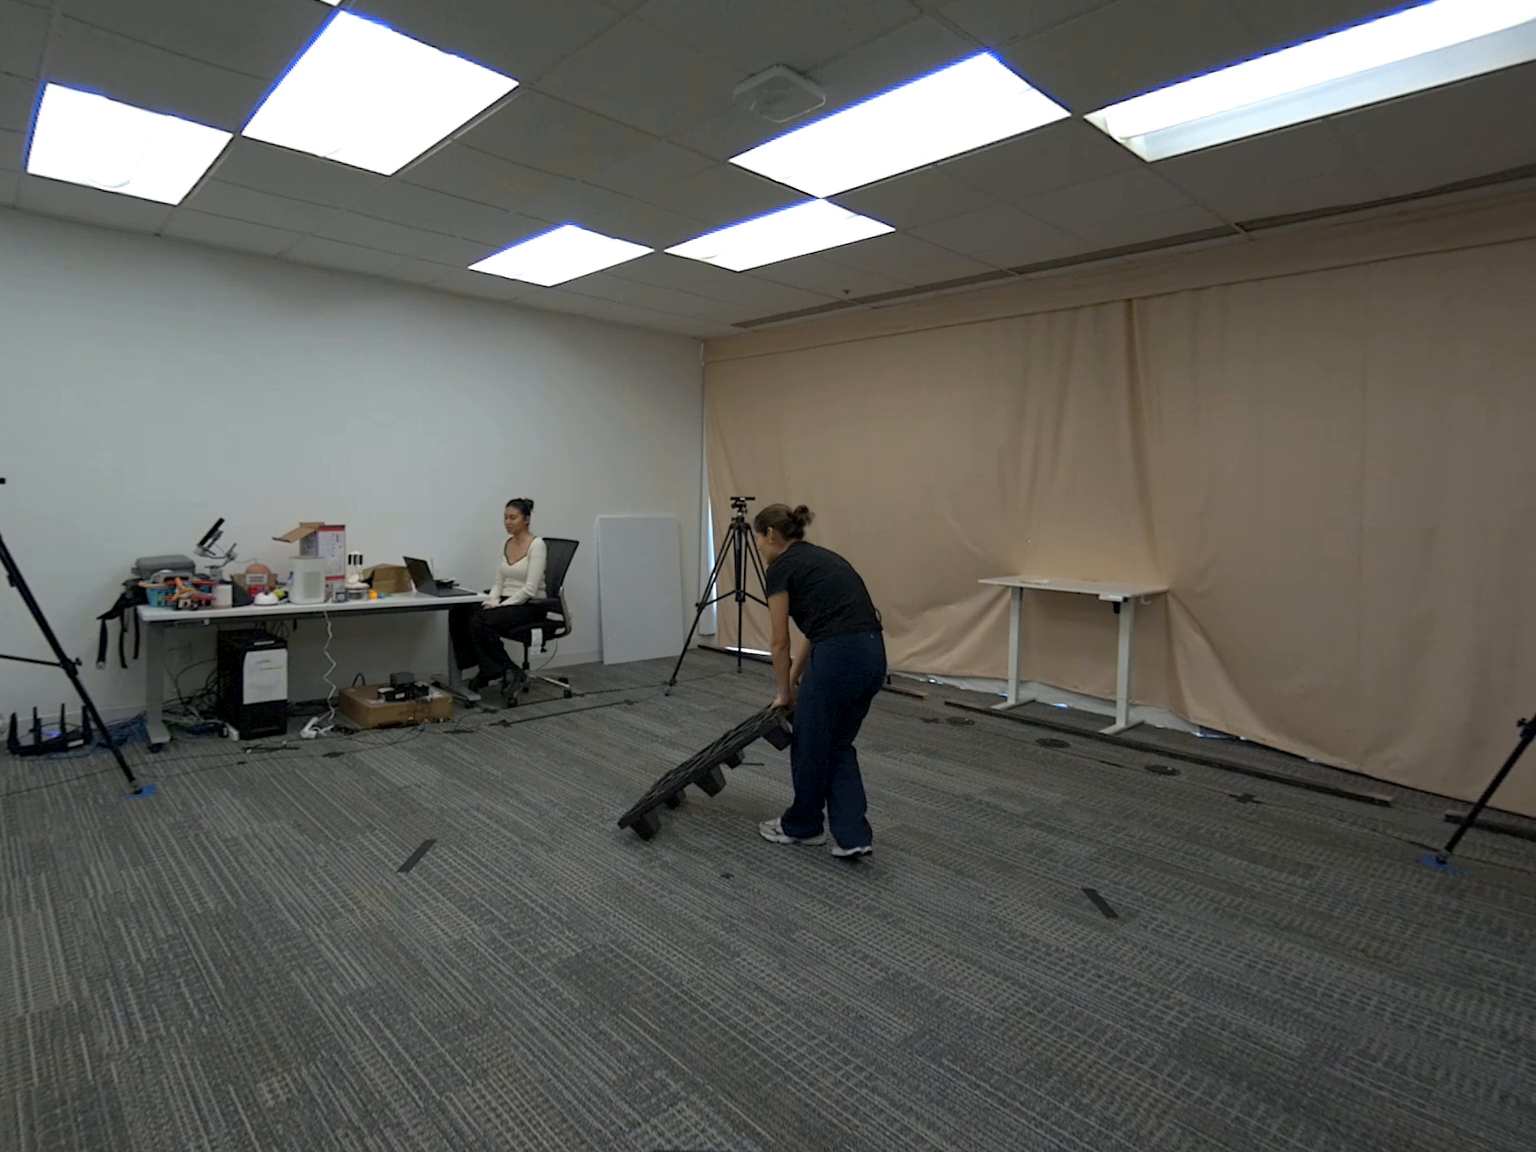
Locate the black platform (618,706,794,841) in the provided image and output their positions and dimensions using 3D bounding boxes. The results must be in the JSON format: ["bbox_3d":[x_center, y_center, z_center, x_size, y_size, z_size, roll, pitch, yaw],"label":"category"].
[{"bbox_3d":[-0.203,0.789,3.545,0.807,0.144,0.601,-36,-2,11],"label":"black platform"}]
